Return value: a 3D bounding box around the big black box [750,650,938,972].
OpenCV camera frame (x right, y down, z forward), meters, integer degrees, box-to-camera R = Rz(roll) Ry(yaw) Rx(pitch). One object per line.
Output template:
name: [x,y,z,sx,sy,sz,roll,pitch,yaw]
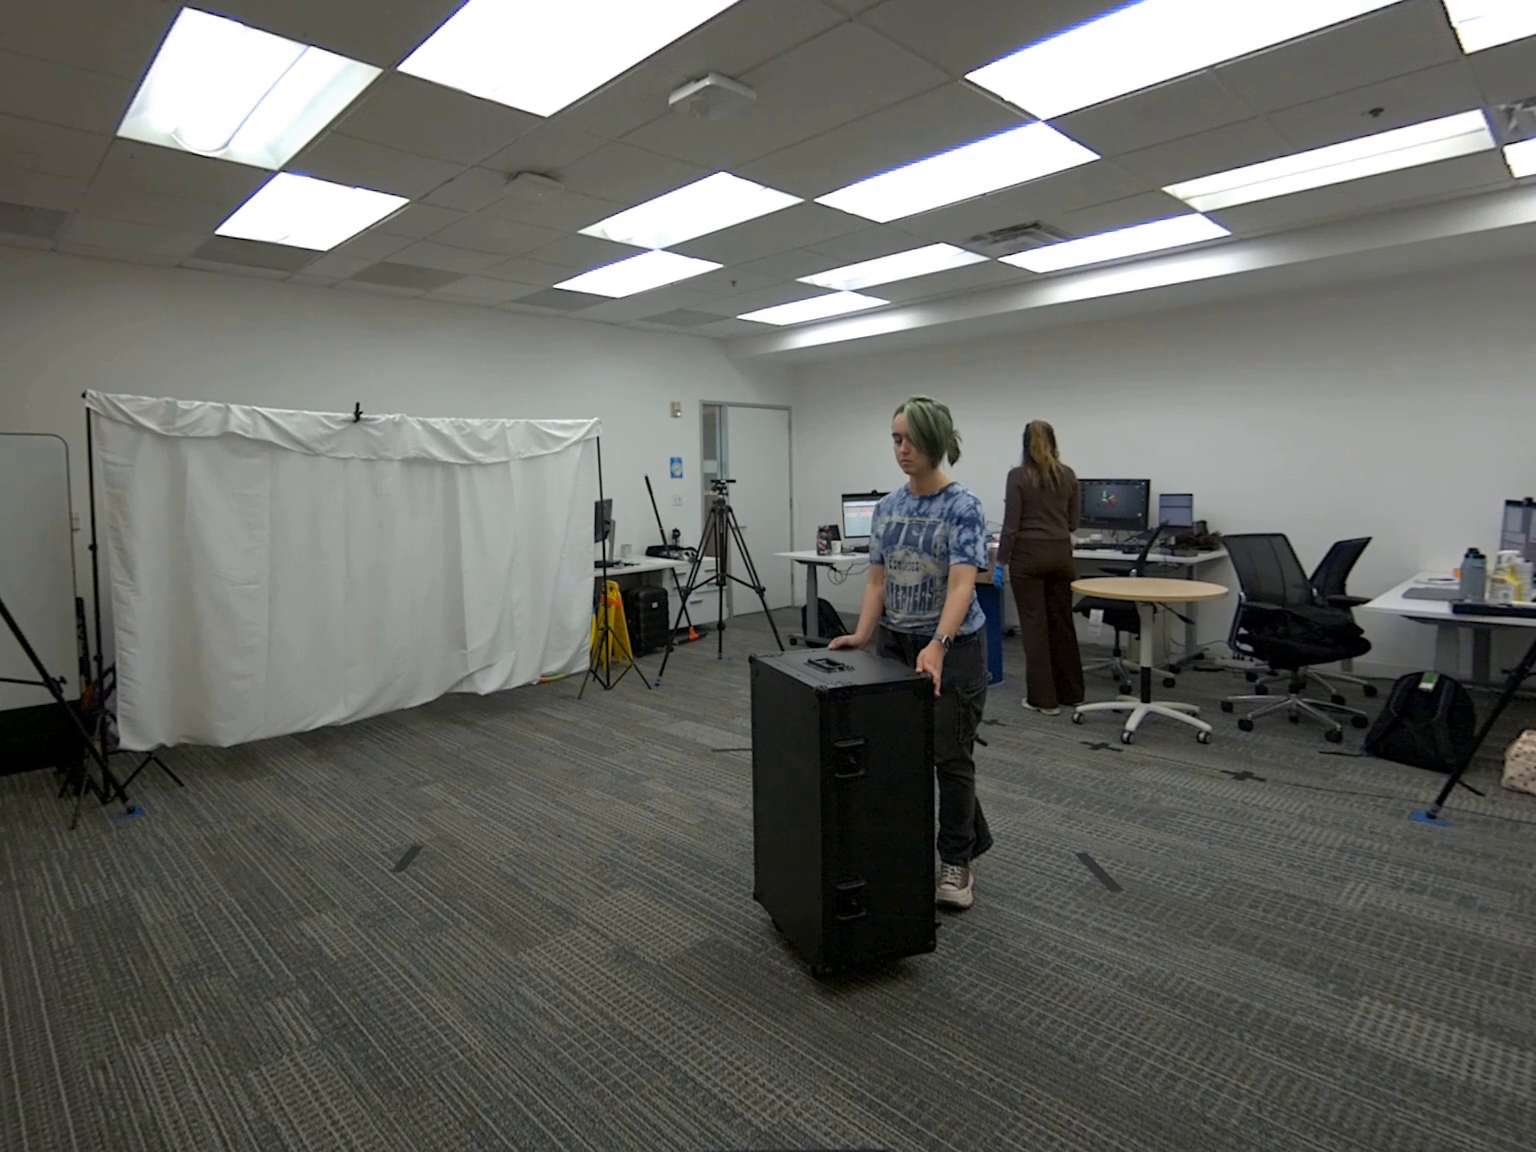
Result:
big black box: [0.212,0.689,2.530,0.389,0.858,0.533,-2,4,-22]
